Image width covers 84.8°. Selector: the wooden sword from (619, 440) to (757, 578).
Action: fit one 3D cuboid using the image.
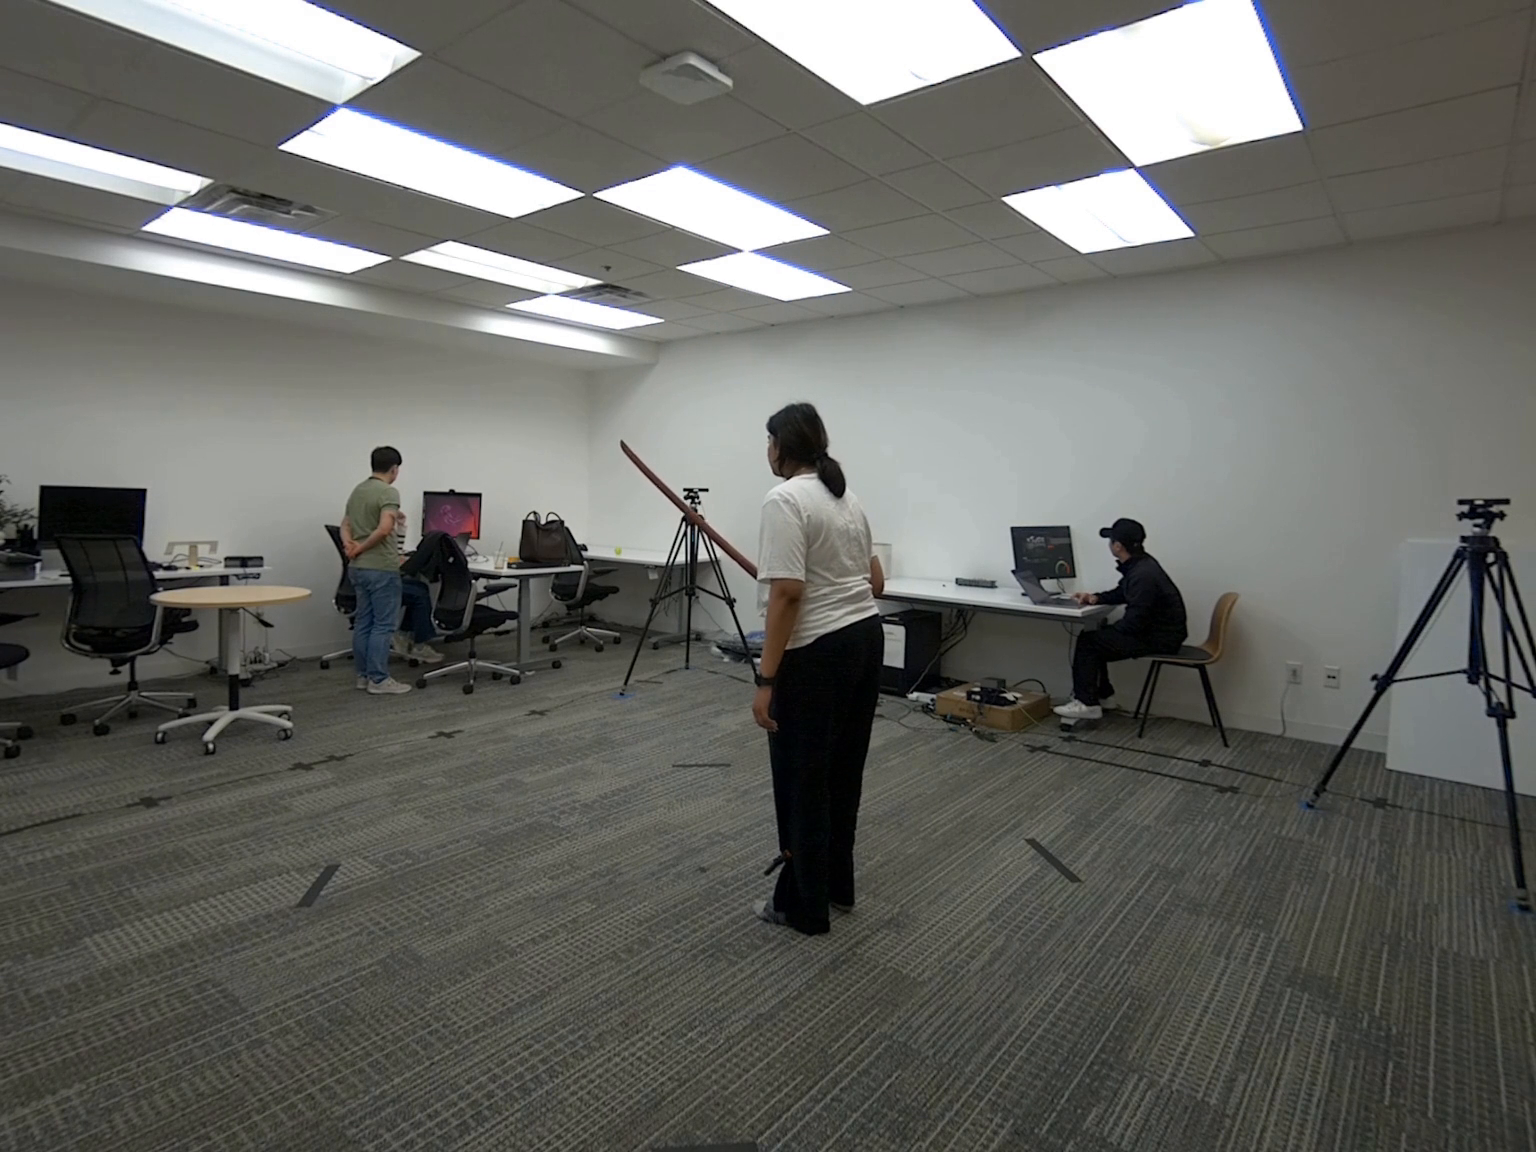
[{"bbox_3d":[-0.276,-0.224,3.212,1.062,0.051,0.023,44,7,28],"label":"wooden sword"}]
